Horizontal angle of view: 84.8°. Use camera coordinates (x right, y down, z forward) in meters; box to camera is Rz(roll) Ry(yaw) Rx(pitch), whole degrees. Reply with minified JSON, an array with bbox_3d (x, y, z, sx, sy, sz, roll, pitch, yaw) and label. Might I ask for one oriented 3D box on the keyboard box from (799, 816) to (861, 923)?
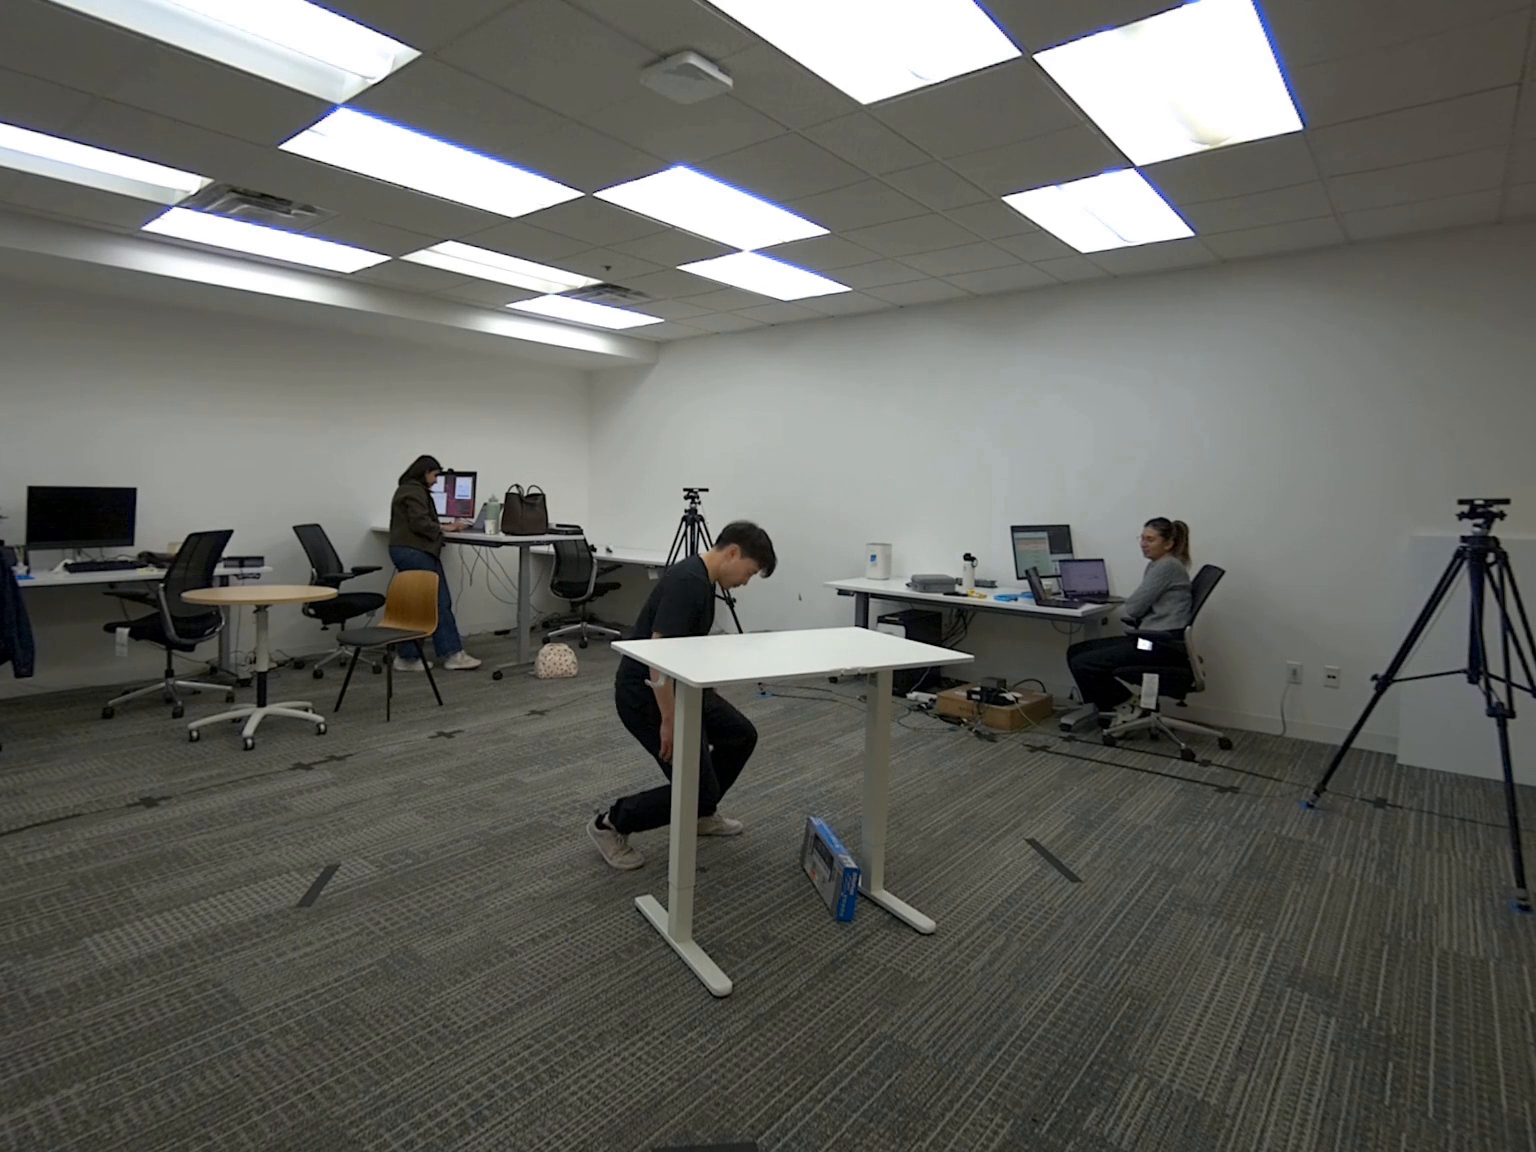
[{"bbox_3d":[0.204,1.004,2.962,0.058,0.175,0.444,7,4,-13],"label":"keyboard box"}]
